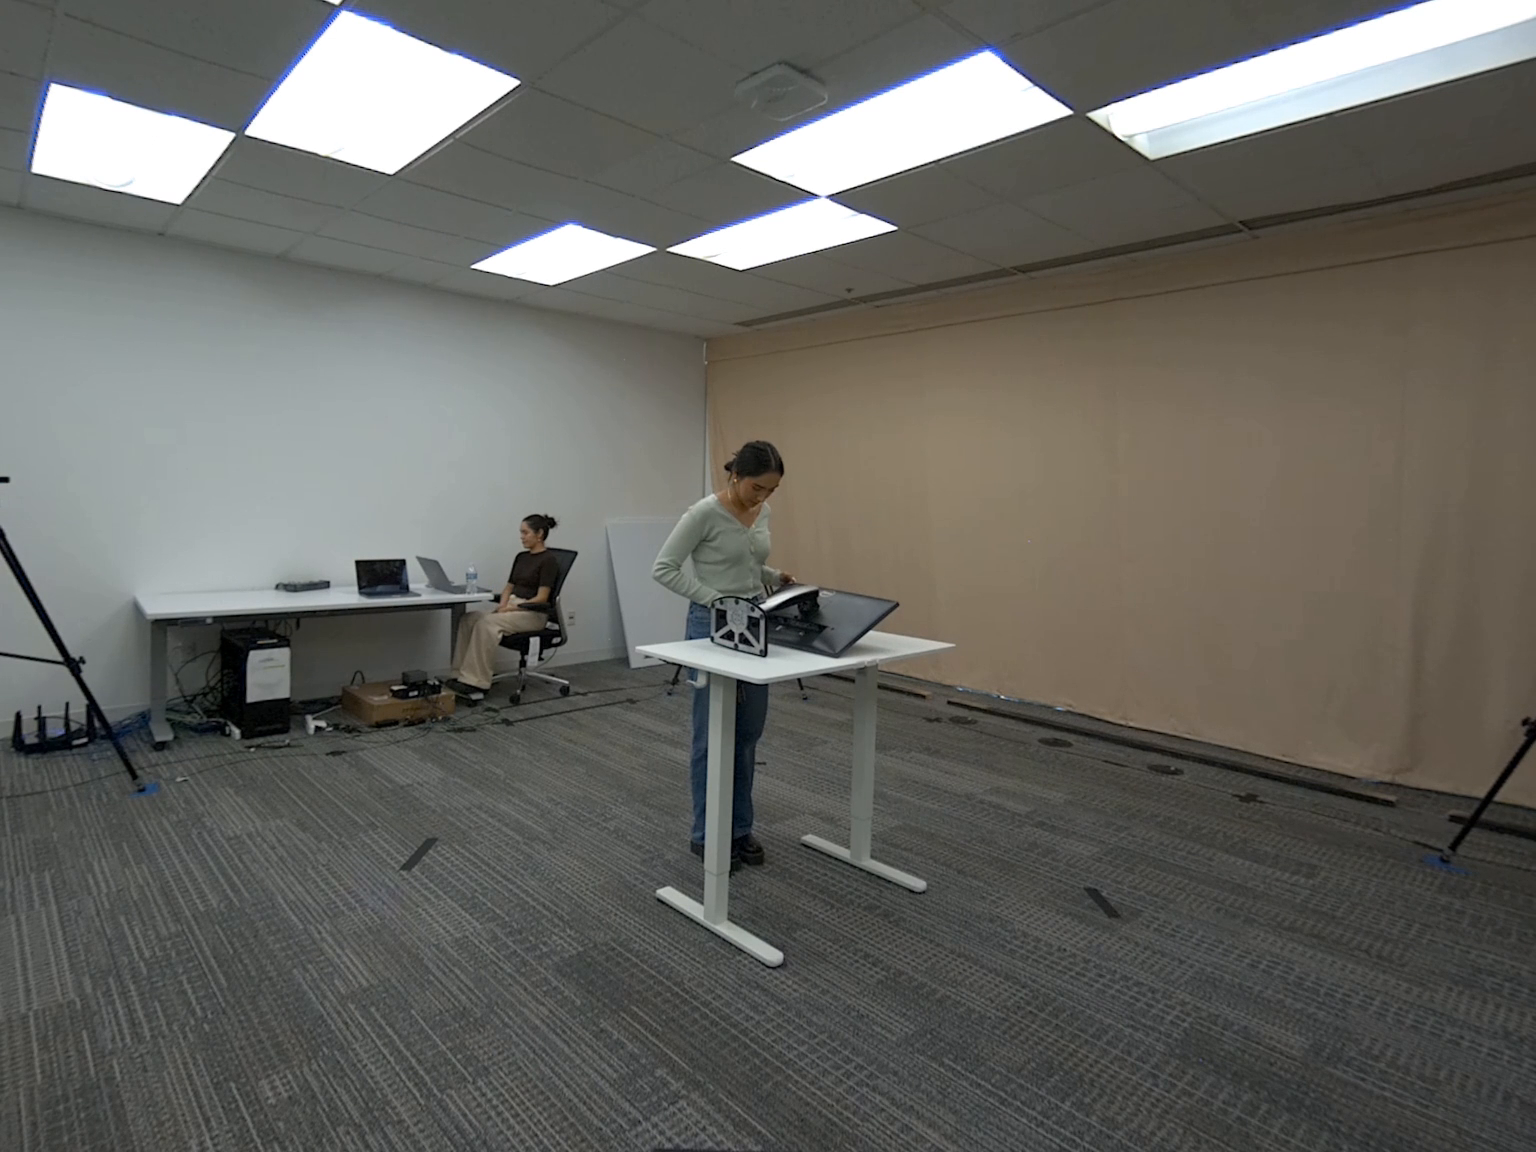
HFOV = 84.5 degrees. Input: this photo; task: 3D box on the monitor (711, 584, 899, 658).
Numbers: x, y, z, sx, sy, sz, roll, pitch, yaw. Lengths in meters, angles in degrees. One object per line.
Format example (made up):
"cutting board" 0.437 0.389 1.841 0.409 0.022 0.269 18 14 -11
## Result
"monitor" 0.072 0.133 2.913 0.512 0.185 0.554 -11 18 -39
